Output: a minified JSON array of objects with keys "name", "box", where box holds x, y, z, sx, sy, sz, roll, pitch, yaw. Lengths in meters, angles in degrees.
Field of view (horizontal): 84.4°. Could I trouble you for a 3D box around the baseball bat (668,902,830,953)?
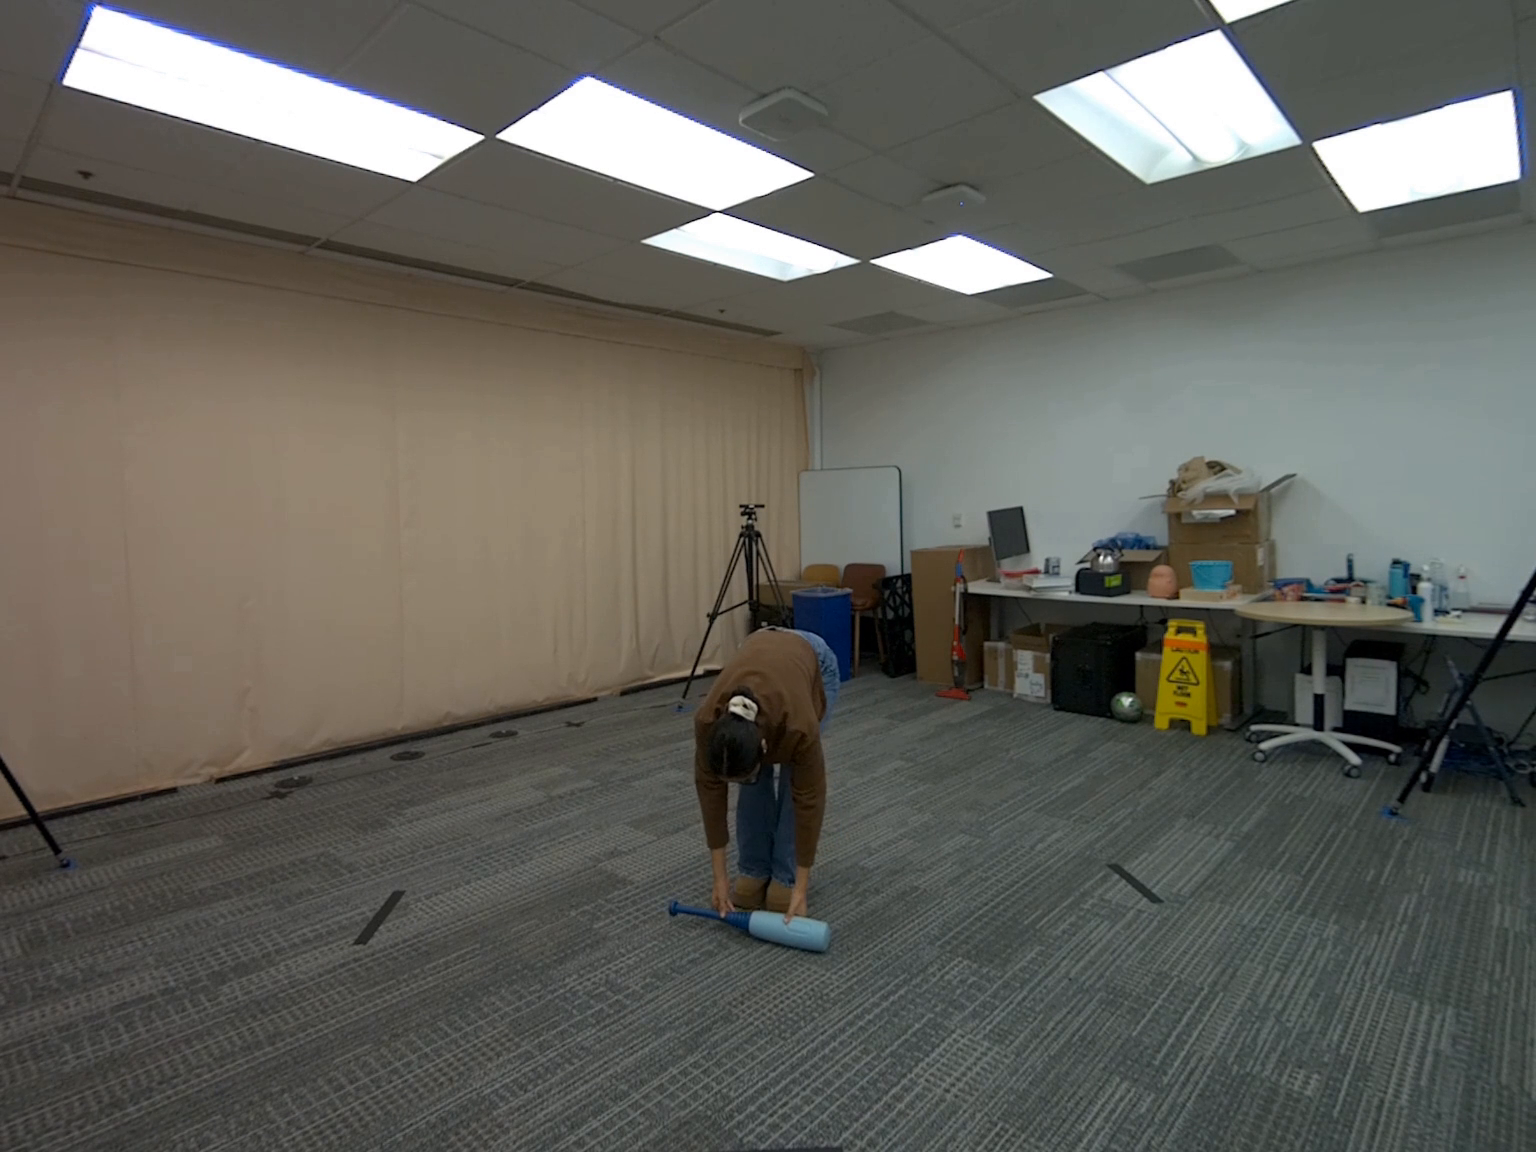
[{"name":"baseball bat","box":[-0.070,1.102,2.727,0.556,0.089,0.087,2,5,23]}]
